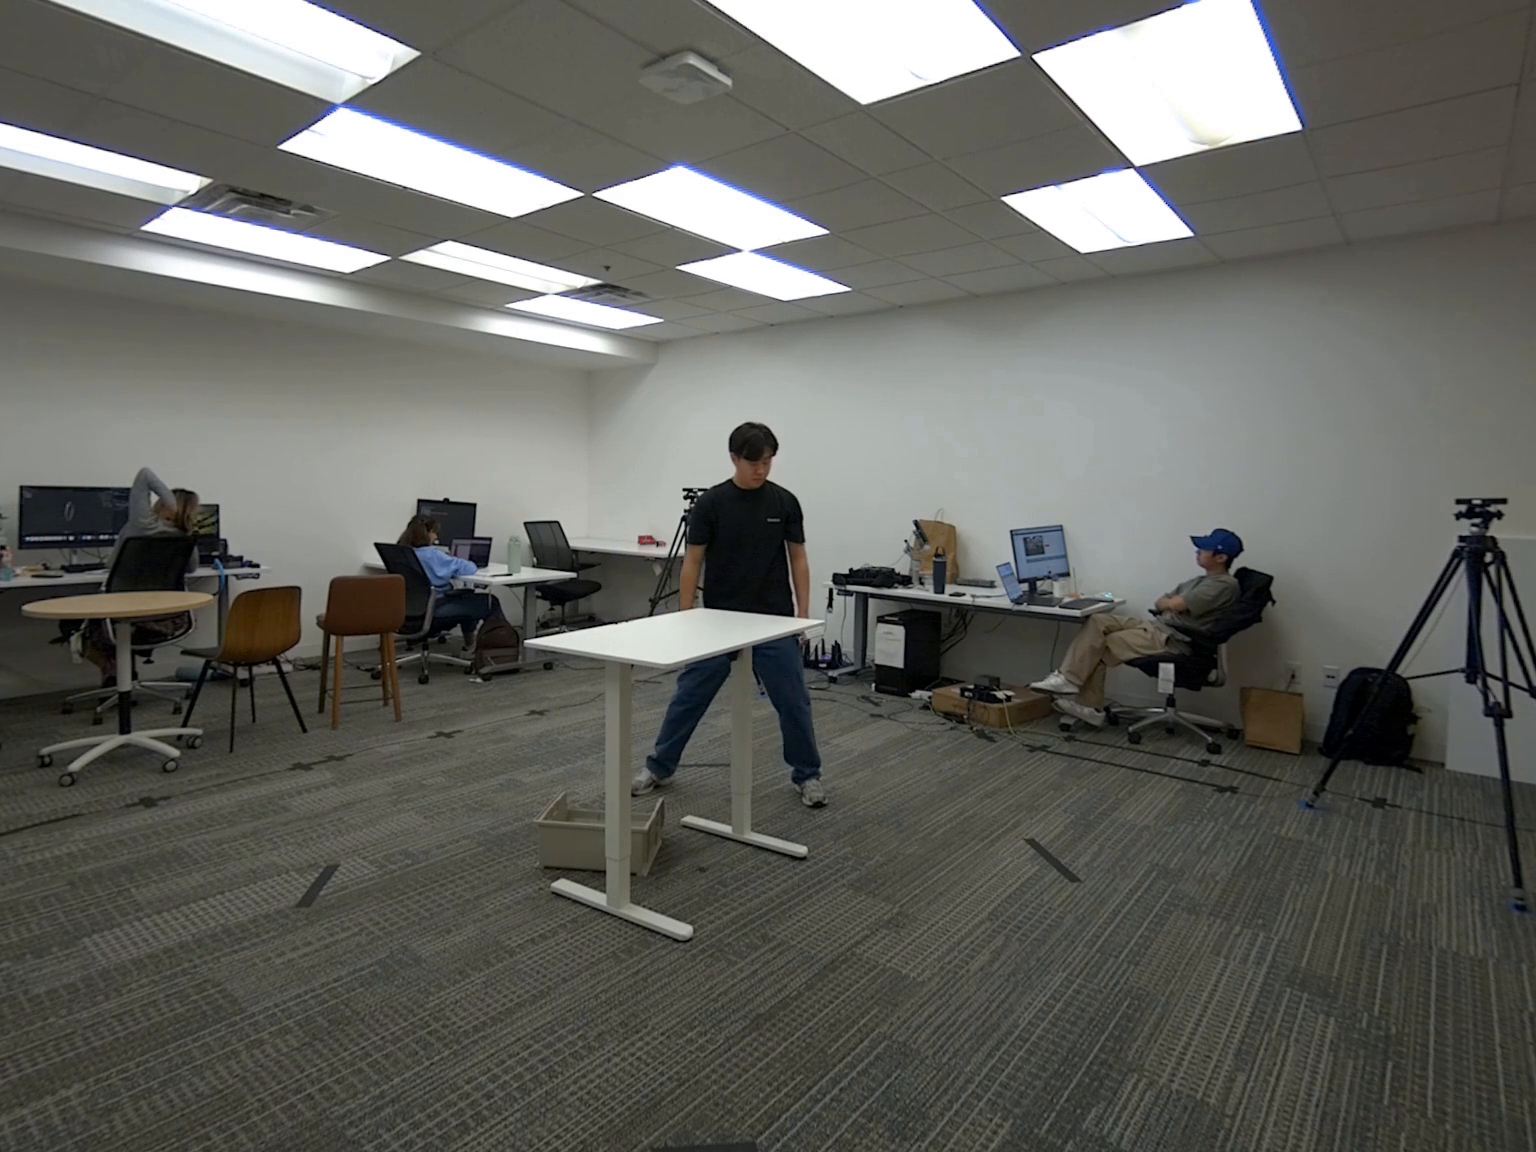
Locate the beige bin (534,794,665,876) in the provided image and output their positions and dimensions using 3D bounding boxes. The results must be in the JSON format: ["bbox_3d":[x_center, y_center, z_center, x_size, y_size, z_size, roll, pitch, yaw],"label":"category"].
[{"bbox_3d":[-0.644,0.965,3.232,0.425,0.188,0.376,2,5,6],"label":"beige bin"}]
